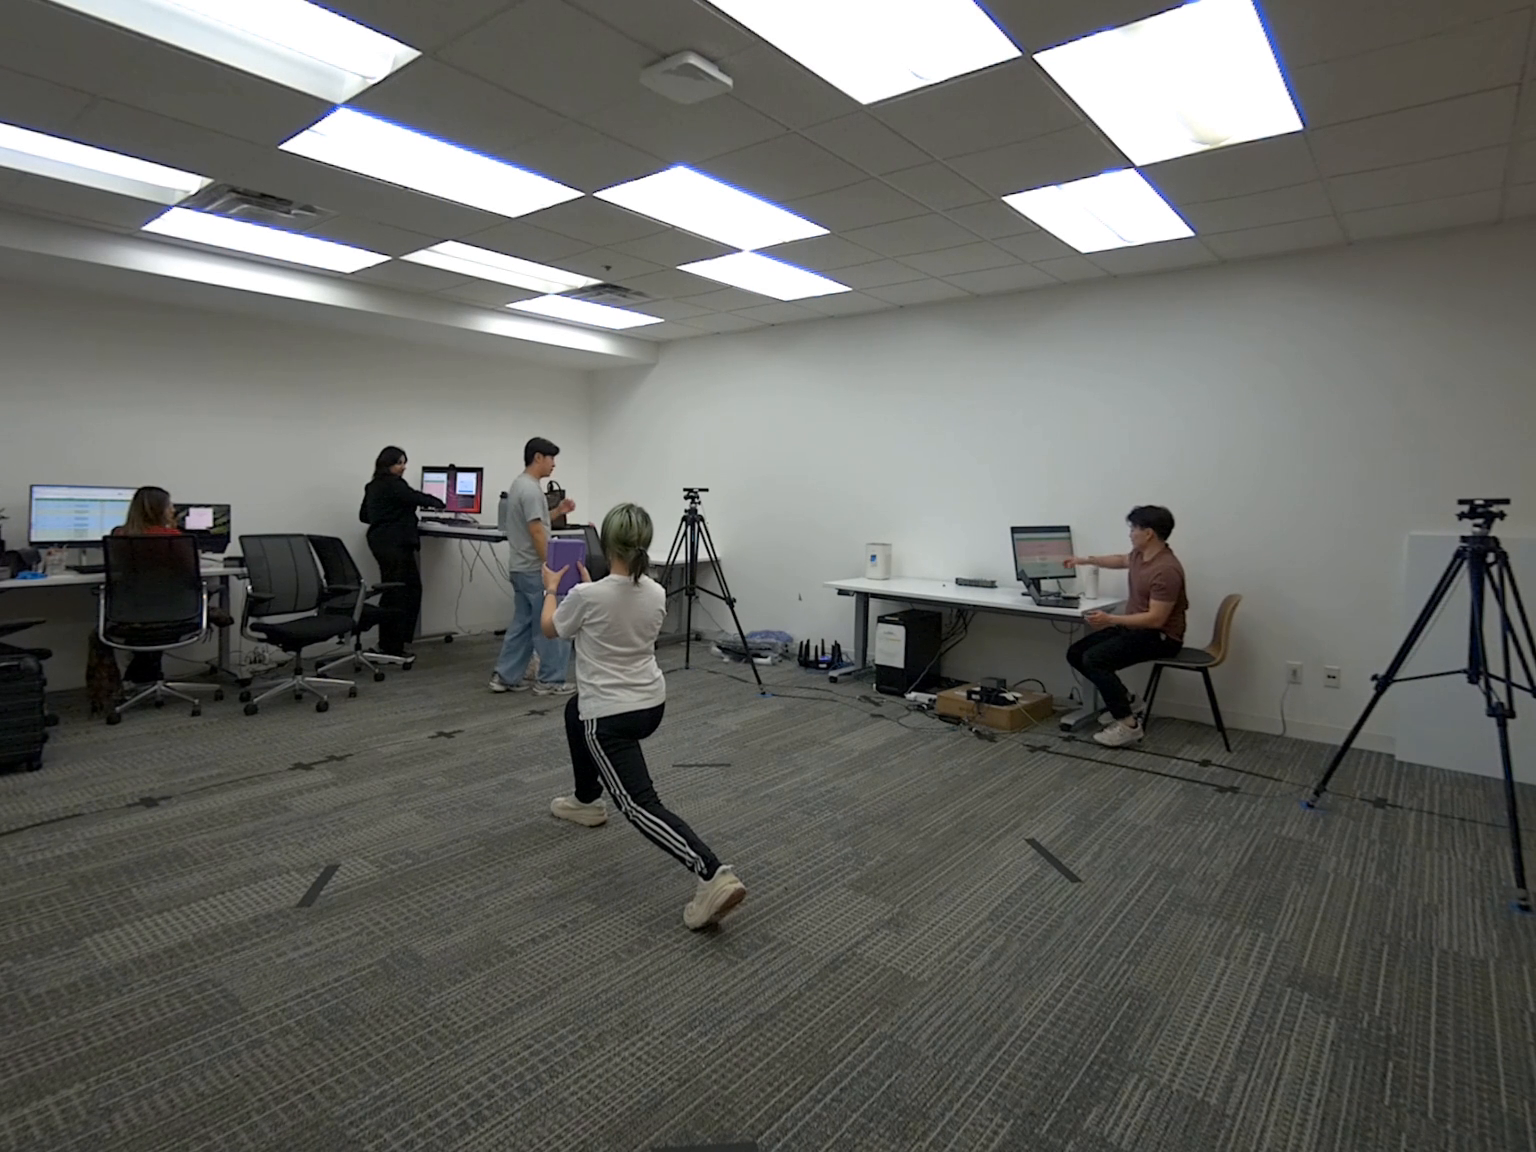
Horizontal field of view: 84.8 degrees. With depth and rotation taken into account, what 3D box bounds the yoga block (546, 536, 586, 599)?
[{"bbox_3d":[-0.867,-0.039,3.580,0.144,0.229,0.079,2,3,-35],"label":"yoga block"}]
